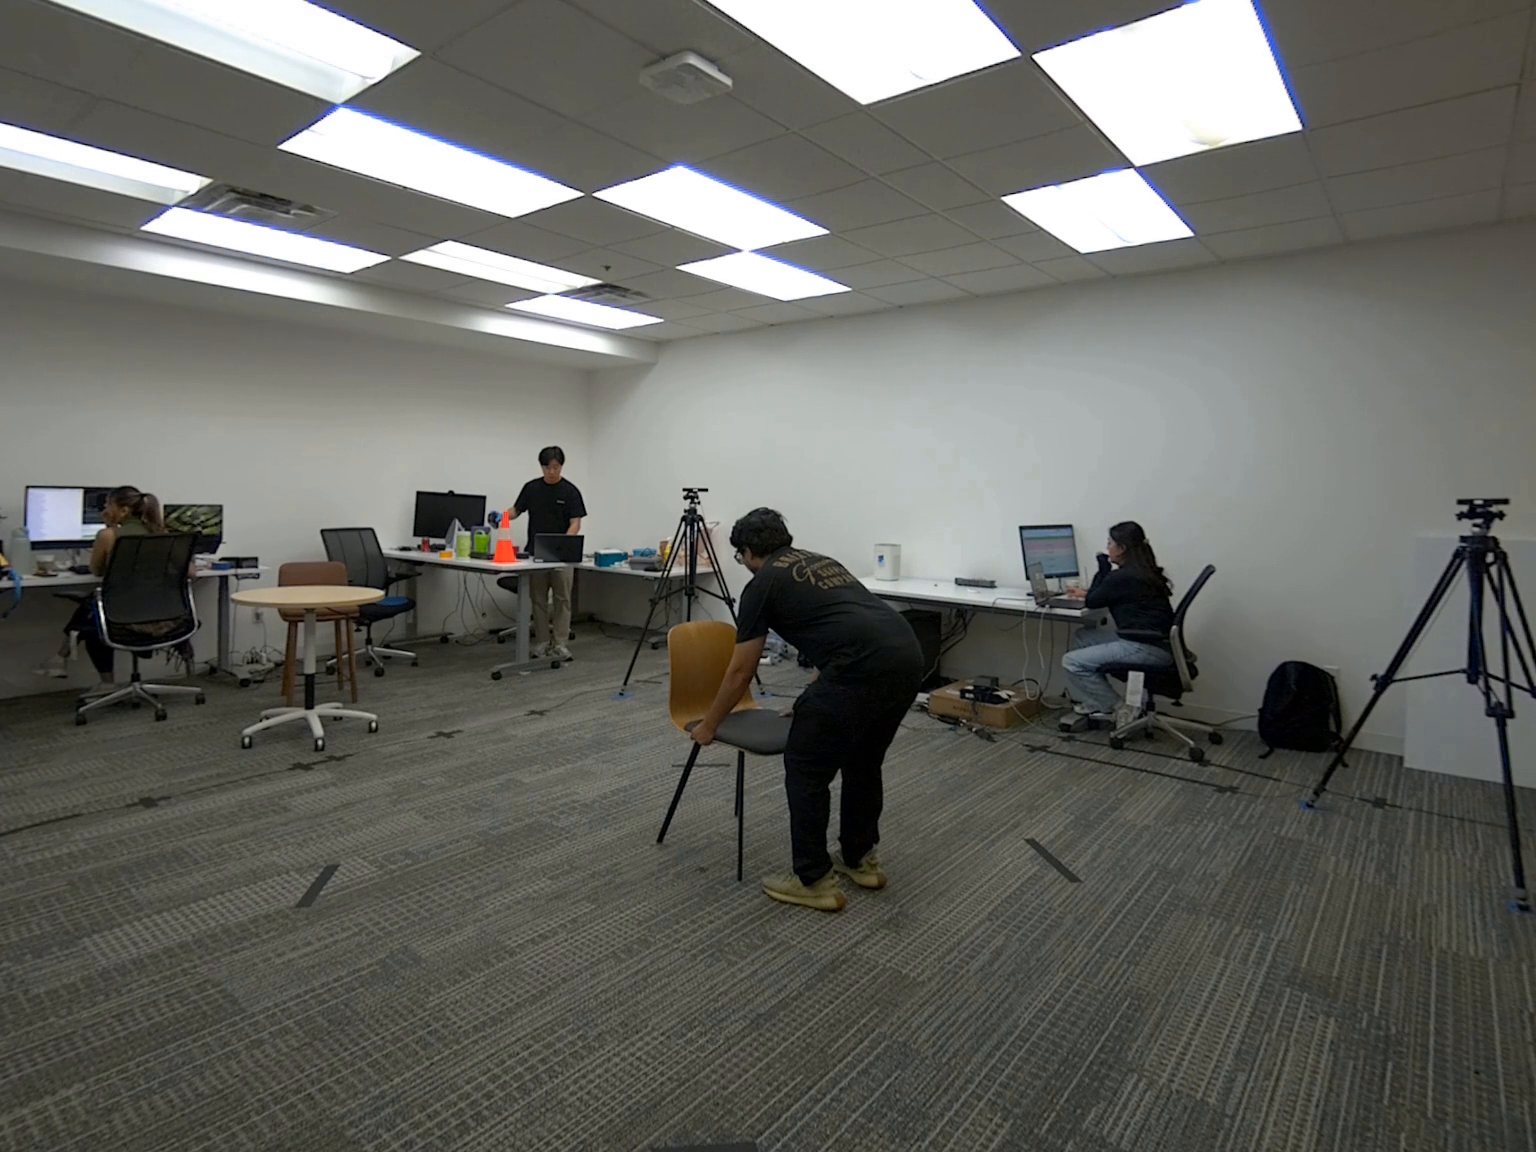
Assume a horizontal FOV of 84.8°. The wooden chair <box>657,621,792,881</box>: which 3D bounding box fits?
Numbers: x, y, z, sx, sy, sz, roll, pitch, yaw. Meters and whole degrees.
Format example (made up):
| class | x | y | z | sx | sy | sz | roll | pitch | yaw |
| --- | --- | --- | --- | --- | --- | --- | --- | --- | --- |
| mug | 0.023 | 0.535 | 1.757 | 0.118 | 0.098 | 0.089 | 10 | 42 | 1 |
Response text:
| class | x | y | z | sx | sy | sz | roll | pitch | yaw |
| --- | --- | --- | --- | --- | --- | --- | --- | --- | --- |
| wooden chair | -0.113 | 0.620 | 3.298 | 0.539 | 0.878 | 0.463 | -2 | 0 | 44 |
